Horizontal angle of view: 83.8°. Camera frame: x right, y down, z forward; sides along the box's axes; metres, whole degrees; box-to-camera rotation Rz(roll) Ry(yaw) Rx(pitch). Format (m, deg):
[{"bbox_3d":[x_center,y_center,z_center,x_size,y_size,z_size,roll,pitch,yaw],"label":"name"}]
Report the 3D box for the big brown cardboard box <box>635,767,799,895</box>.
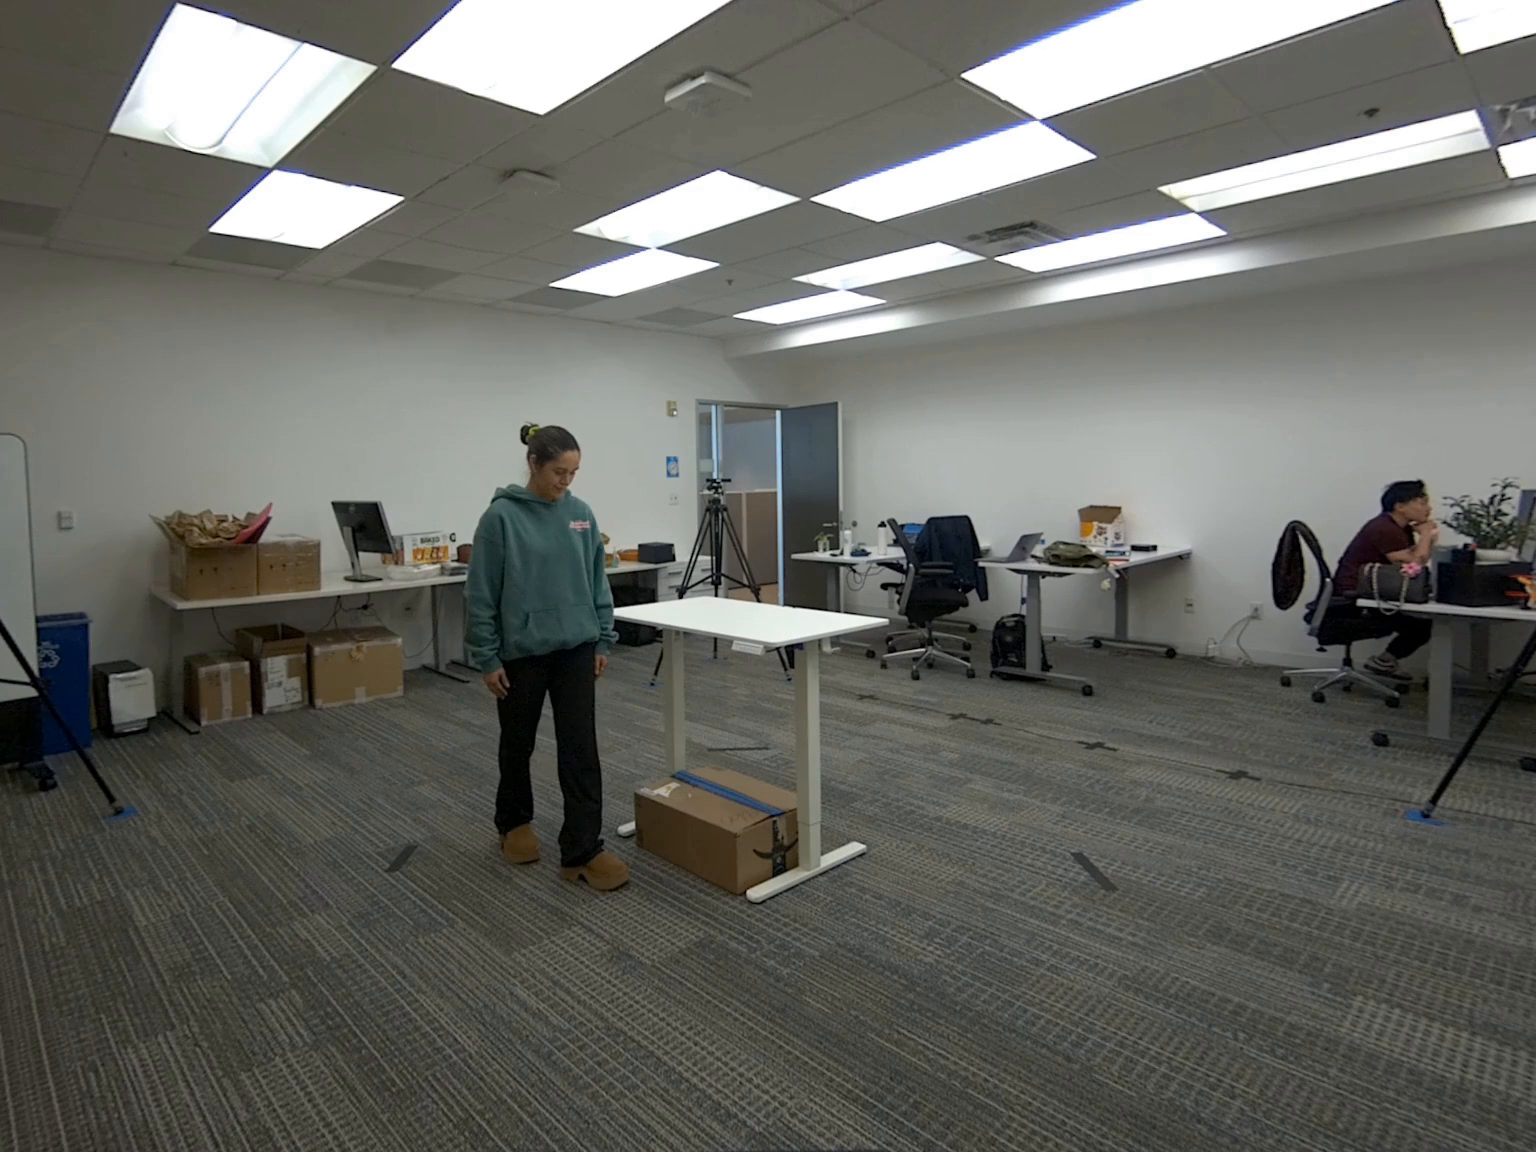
[{"bbox_3d":[-0.164,0.924,3.193,0.406,0.232,0.607,-6,9,-45],"label":"big brown cardboard box"}]
